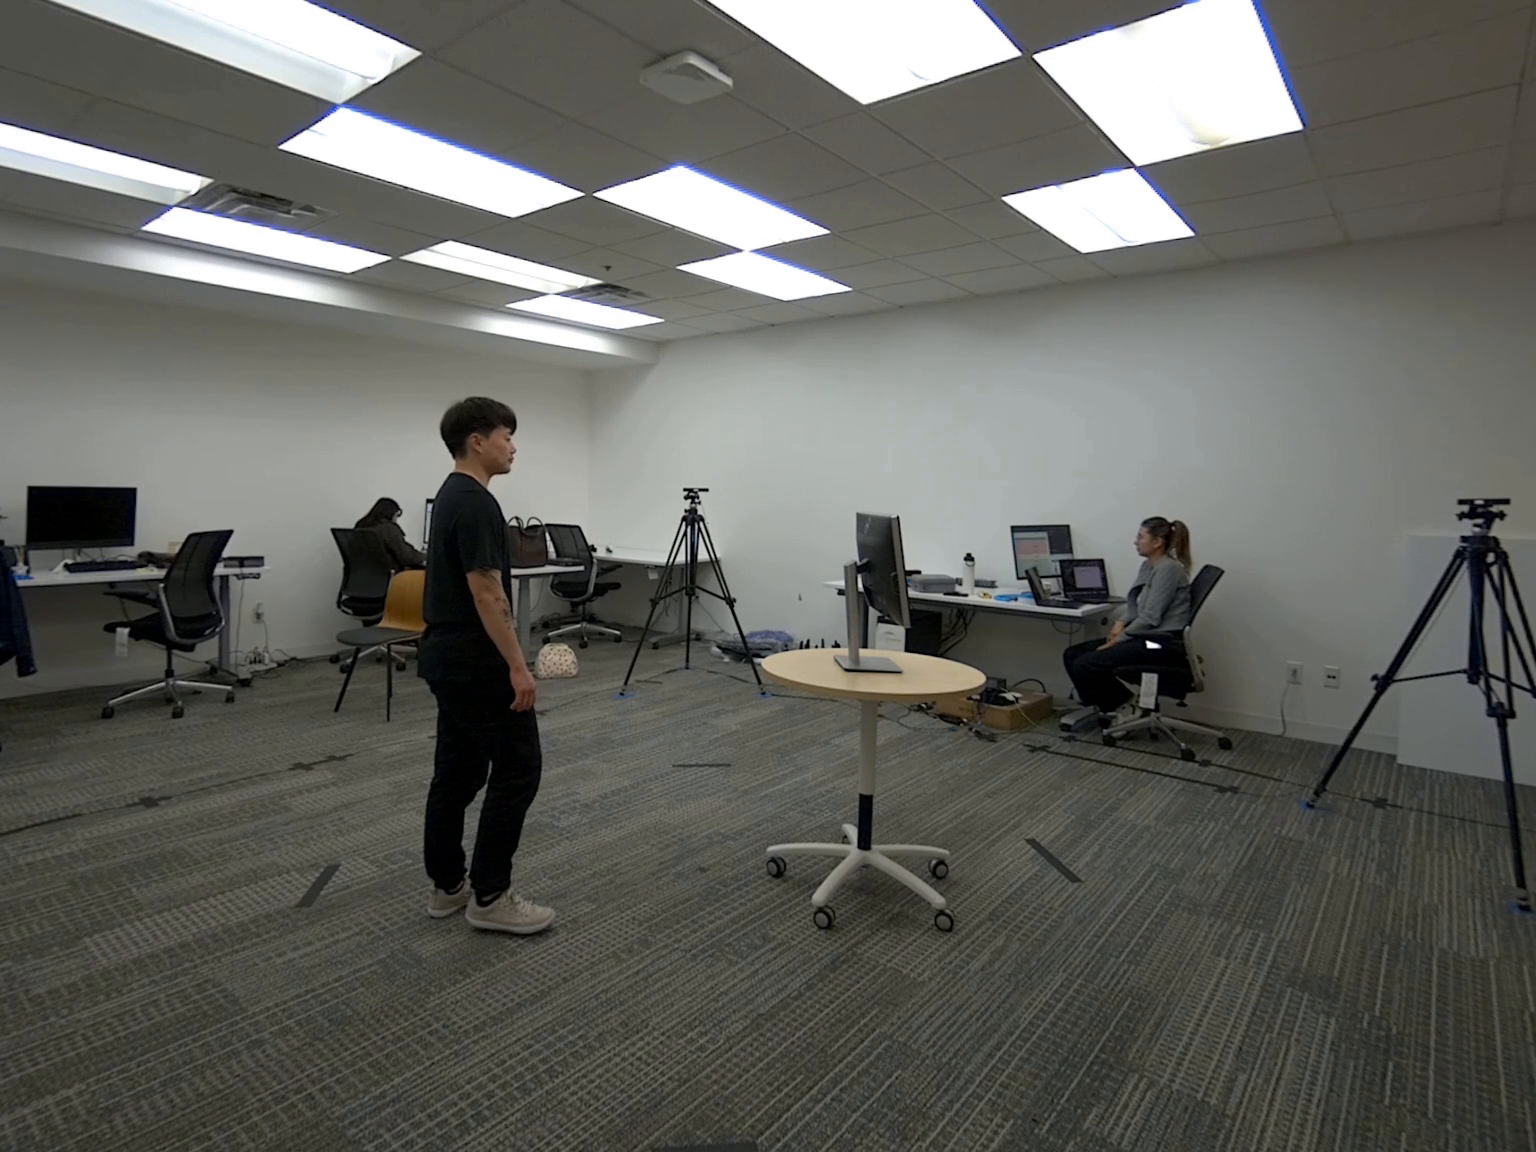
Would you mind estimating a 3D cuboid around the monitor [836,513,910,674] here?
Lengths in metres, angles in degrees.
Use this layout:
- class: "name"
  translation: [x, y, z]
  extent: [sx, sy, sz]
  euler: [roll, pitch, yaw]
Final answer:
- class: "monitor"
  translation: [0.349, 0.054, 2.987]
  extent: [0.186, 0.521, 0.544]
  euler: [3, 4, -7]
